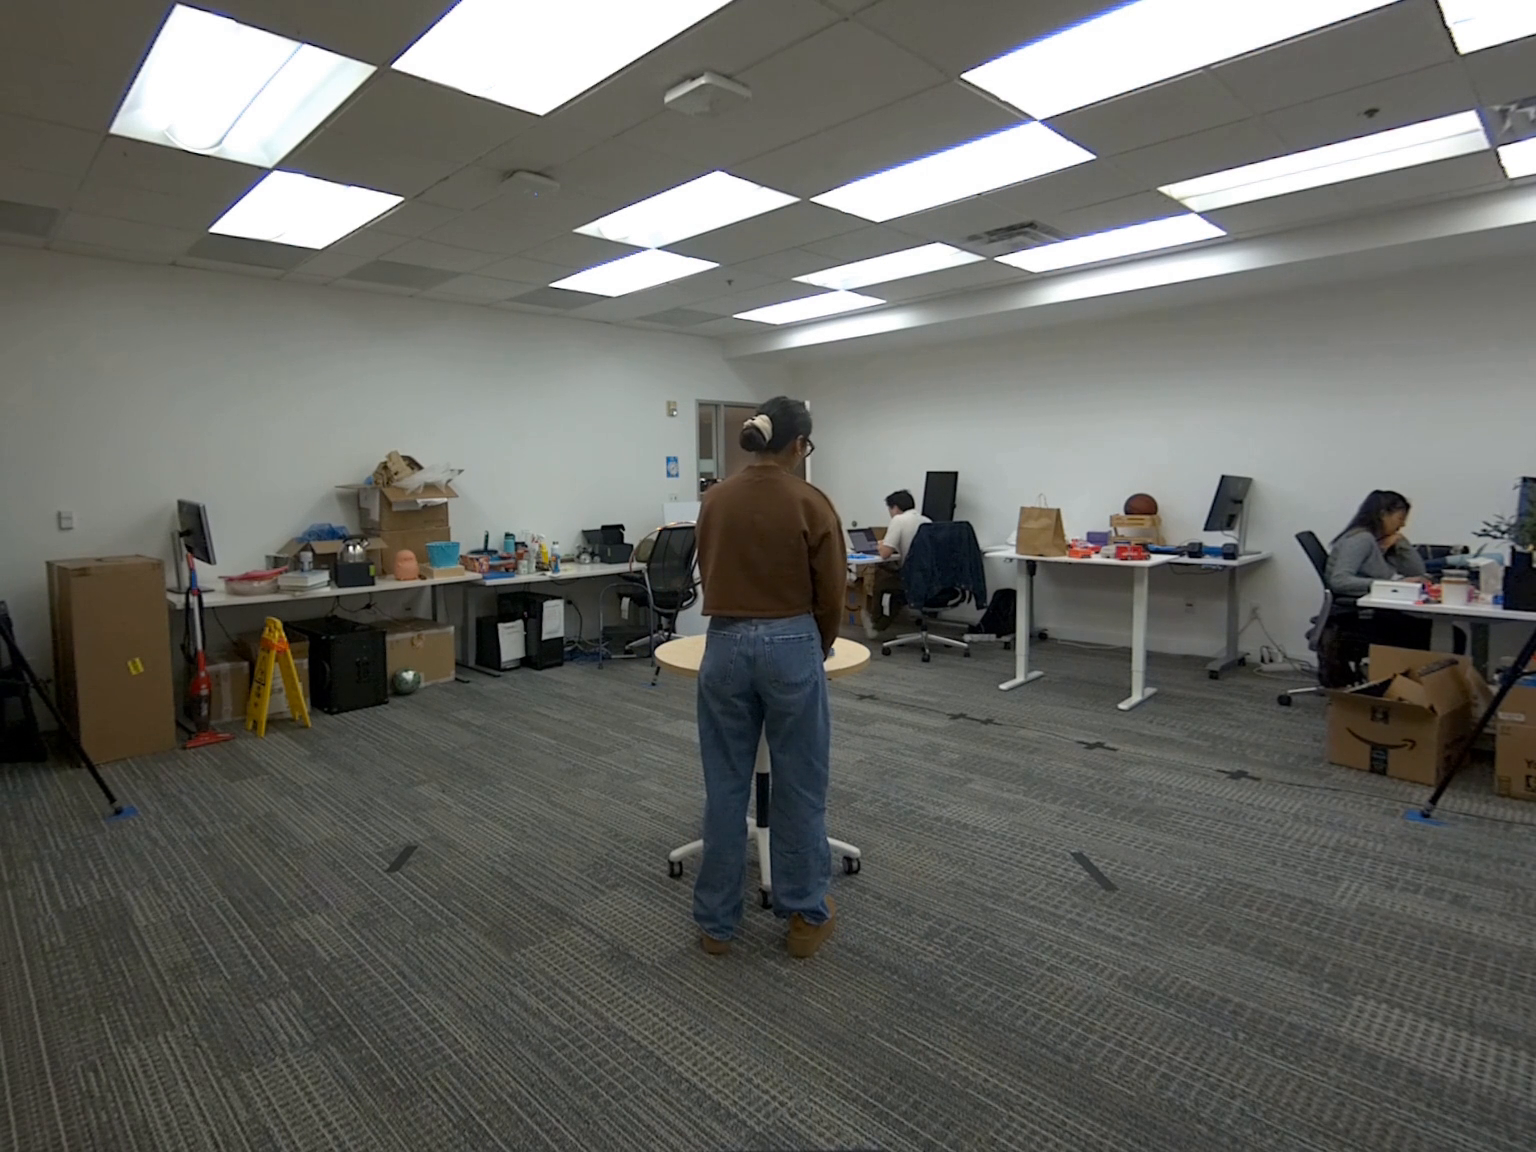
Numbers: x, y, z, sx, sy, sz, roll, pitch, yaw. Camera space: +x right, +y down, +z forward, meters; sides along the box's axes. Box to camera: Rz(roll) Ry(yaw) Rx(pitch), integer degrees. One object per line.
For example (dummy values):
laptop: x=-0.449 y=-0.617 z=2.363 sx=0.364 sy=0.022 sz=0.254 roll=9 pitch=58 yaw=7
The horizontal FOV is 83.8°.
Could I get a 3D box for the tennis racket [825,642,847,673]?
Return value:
tennis racket: x=0.154 y=0.274 z=2.925 sx=0.215 sy=0.032 sz=0.431 roll=-1 pitch=4 yaw=4
